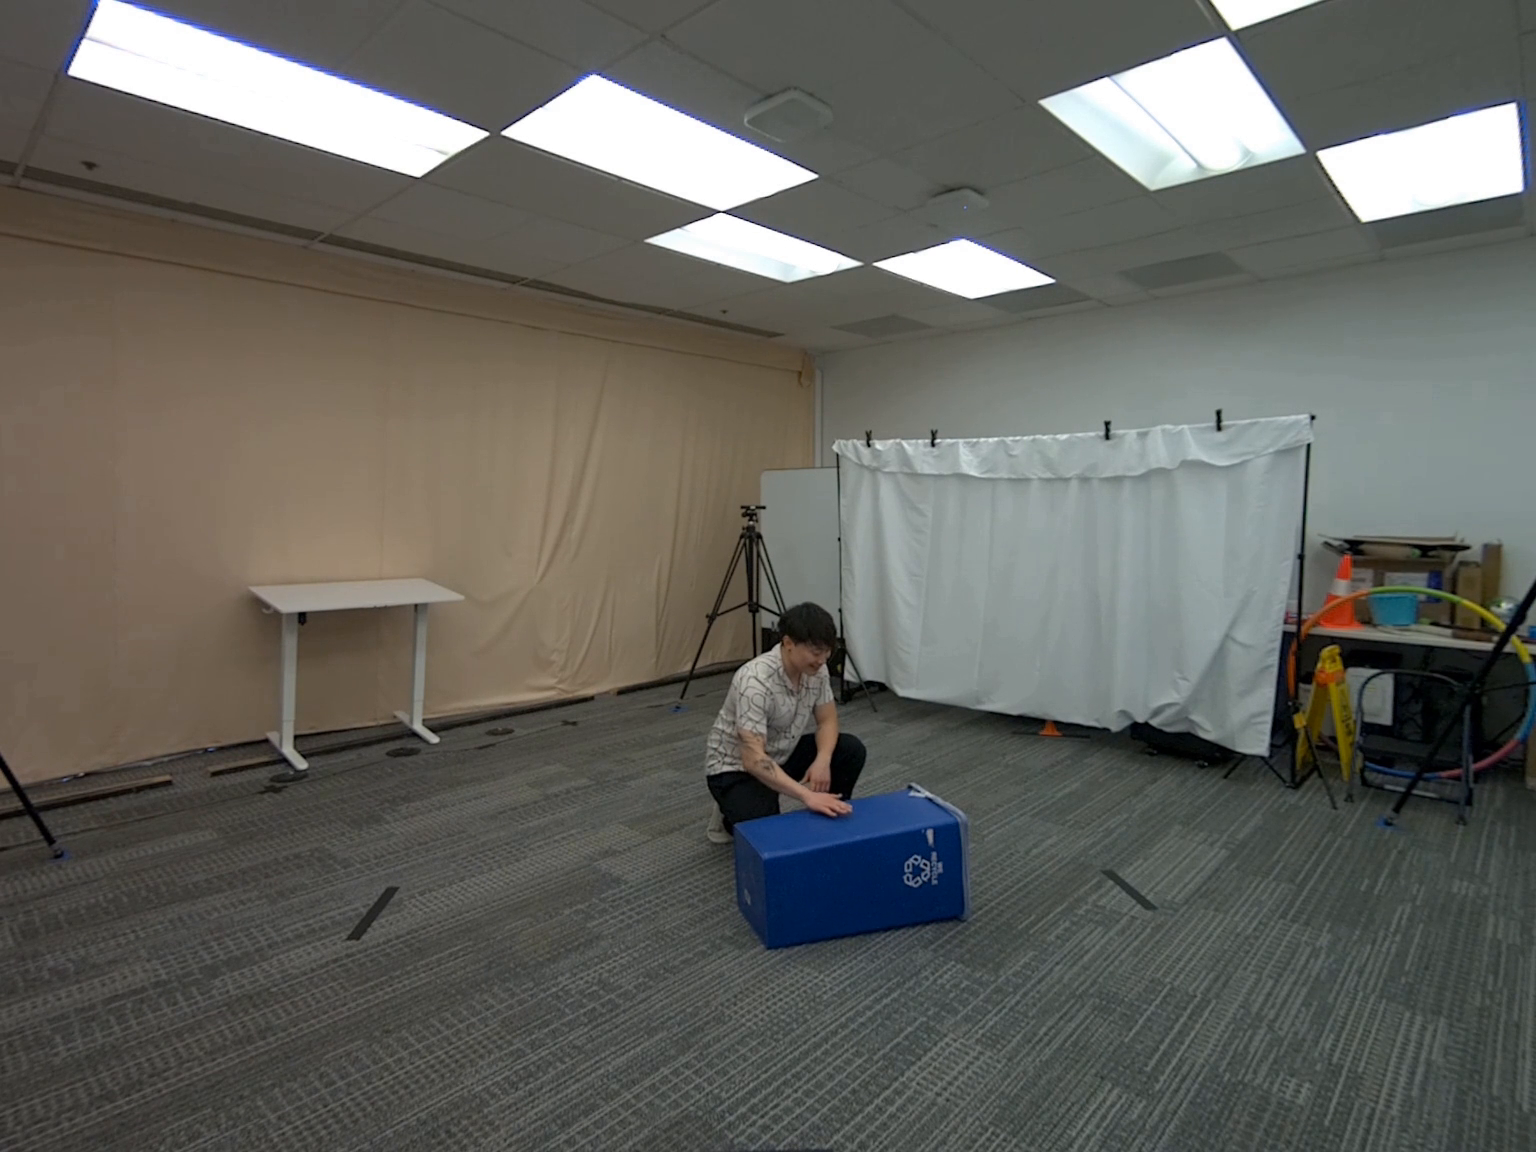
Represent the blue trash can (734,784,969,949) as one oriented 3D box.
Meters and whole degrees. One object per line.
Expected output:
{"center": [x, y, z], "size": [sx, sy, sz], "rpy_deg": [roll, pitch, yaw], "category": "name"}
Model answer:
{"center": [0.276, 0.983, 2.870], "size": [0.702, 0.373, 0.385], "rpy_deg": [-5, 4, -17], "category": "blue trash can"}
